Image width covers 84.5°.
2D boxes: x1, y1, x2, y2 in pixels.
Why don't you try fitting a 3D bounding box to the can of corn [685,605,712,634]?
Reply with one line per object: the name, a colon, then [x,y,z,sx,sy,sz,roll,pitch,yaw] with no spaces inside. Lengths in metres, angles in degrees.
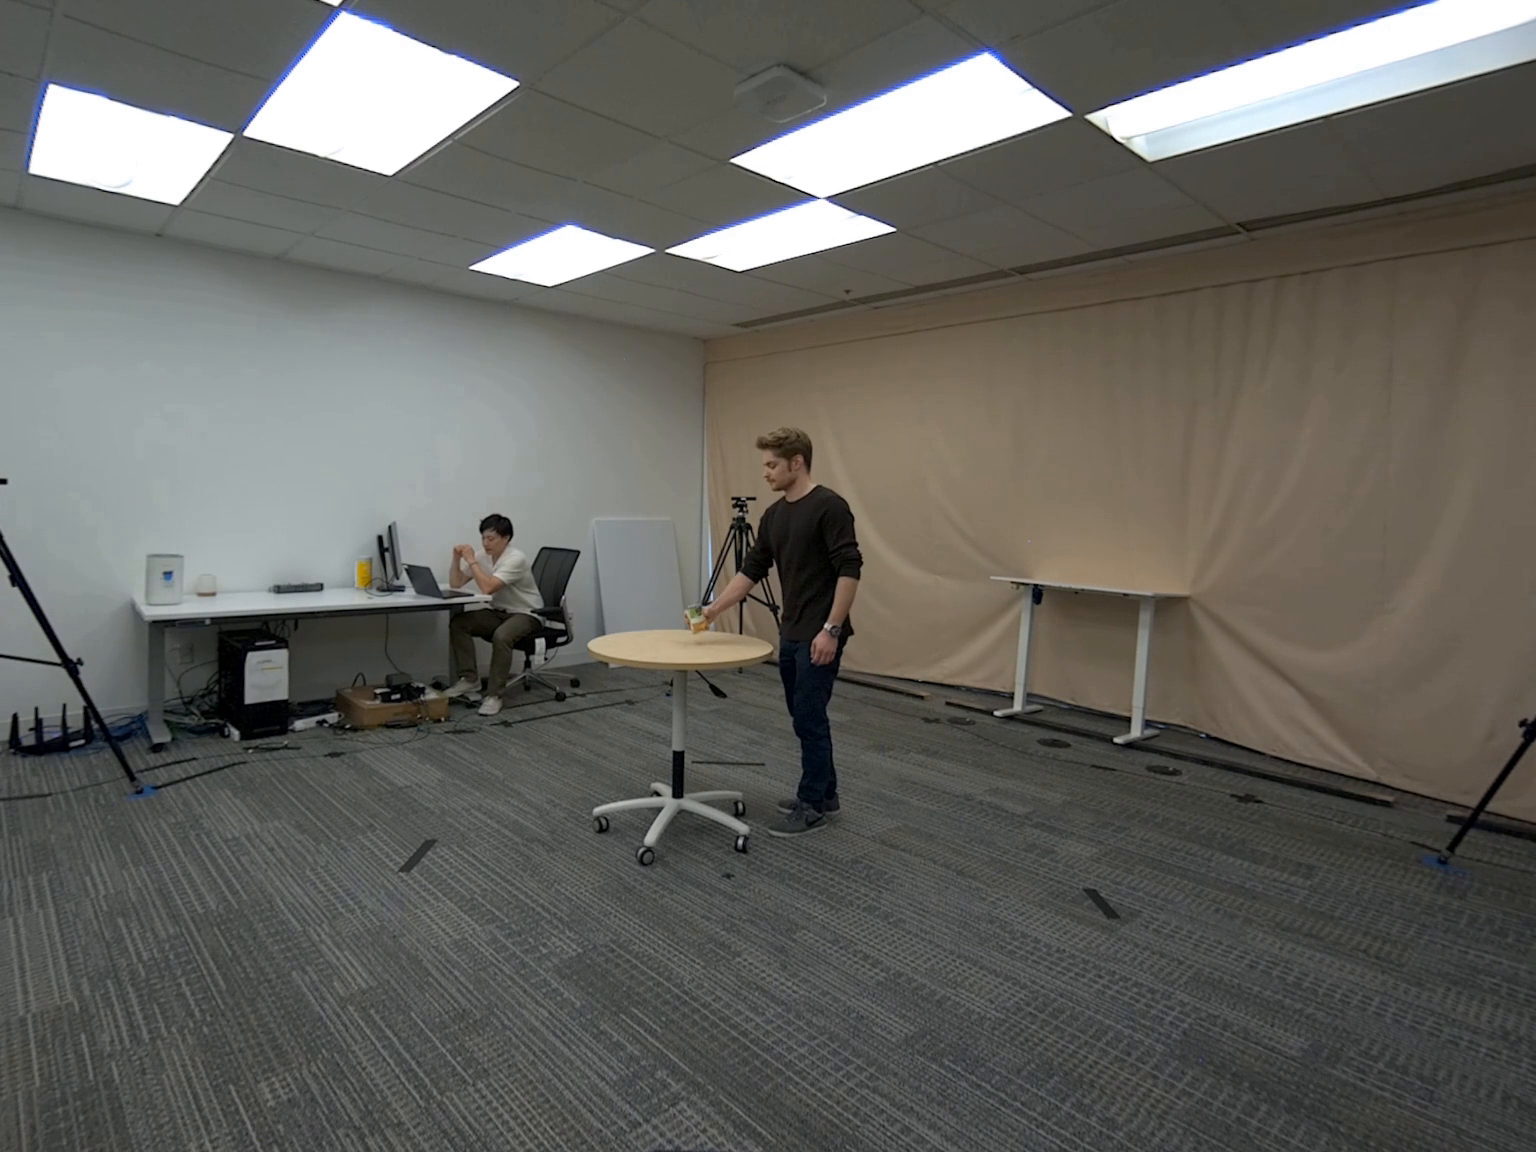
can of corn: [-0.306,0.175,3.515,0.074,0.110,0.074,-13,6,0]
